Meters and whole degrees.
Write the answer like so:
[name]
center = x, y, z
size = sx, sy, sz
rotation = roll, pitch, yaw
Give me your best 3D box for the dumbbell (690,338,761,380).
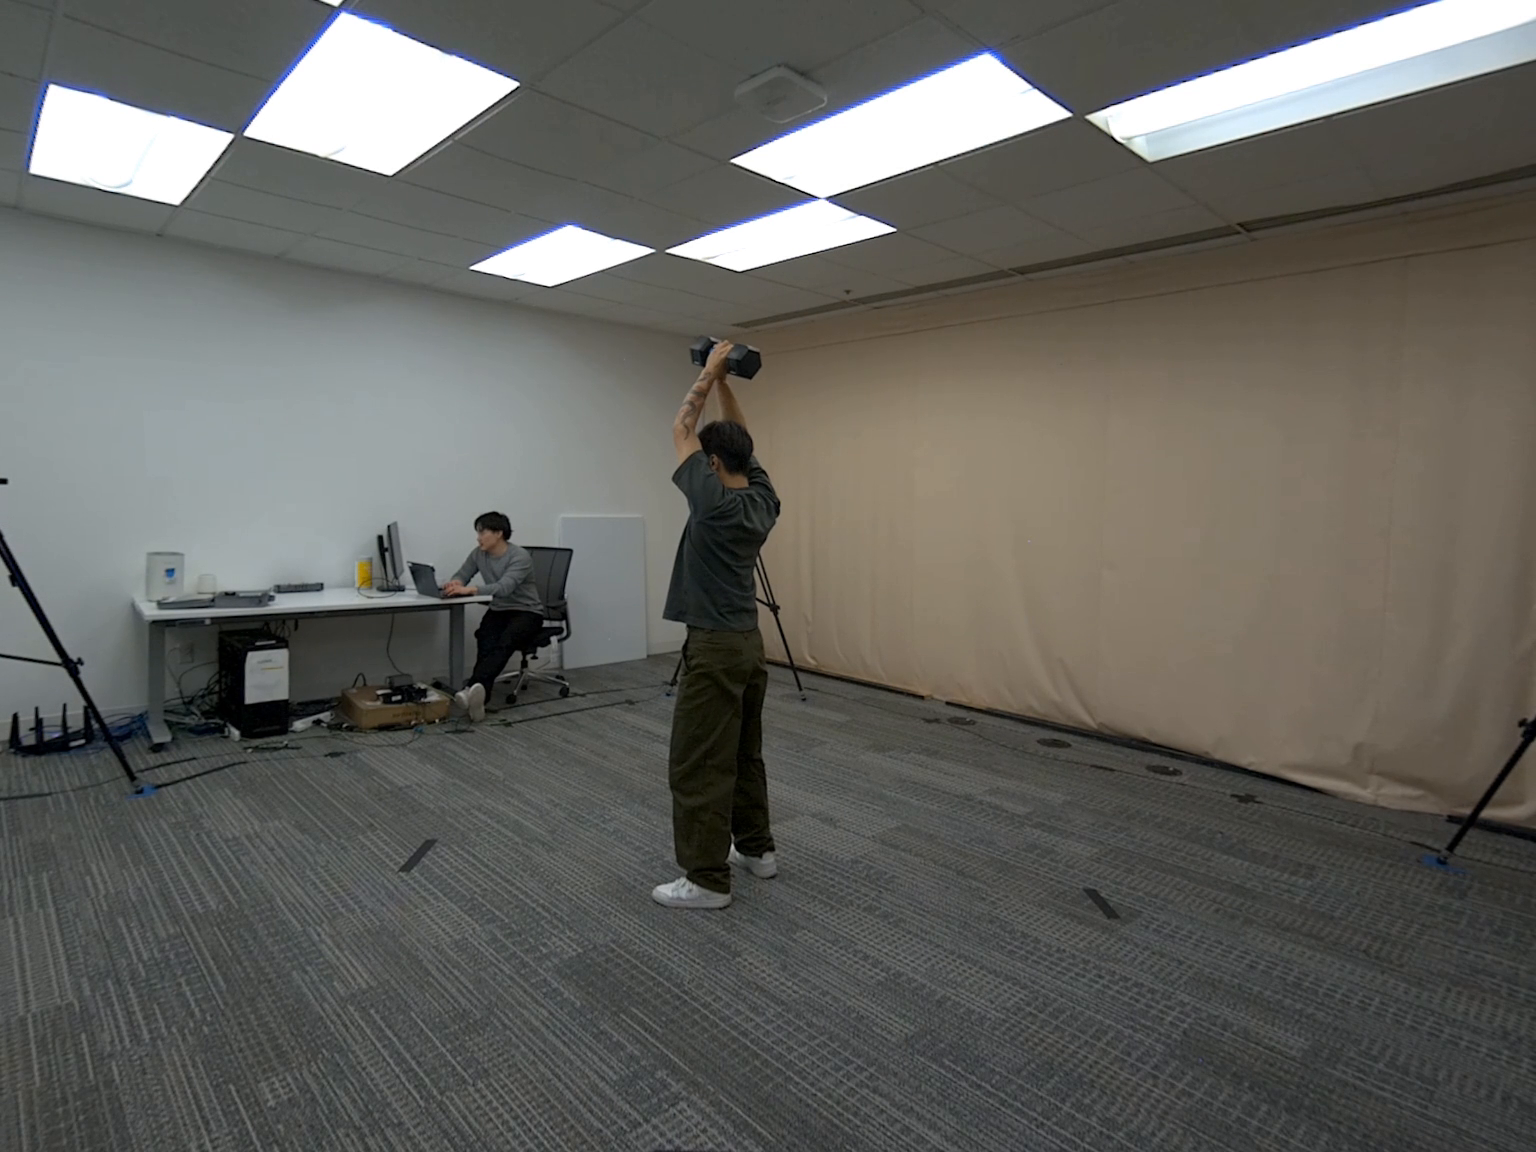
[dumbbell]
center = -0.160, -0.774, 2.971
size = 0.108, 0.120, 0.303
rotation = -30, 37, -29
